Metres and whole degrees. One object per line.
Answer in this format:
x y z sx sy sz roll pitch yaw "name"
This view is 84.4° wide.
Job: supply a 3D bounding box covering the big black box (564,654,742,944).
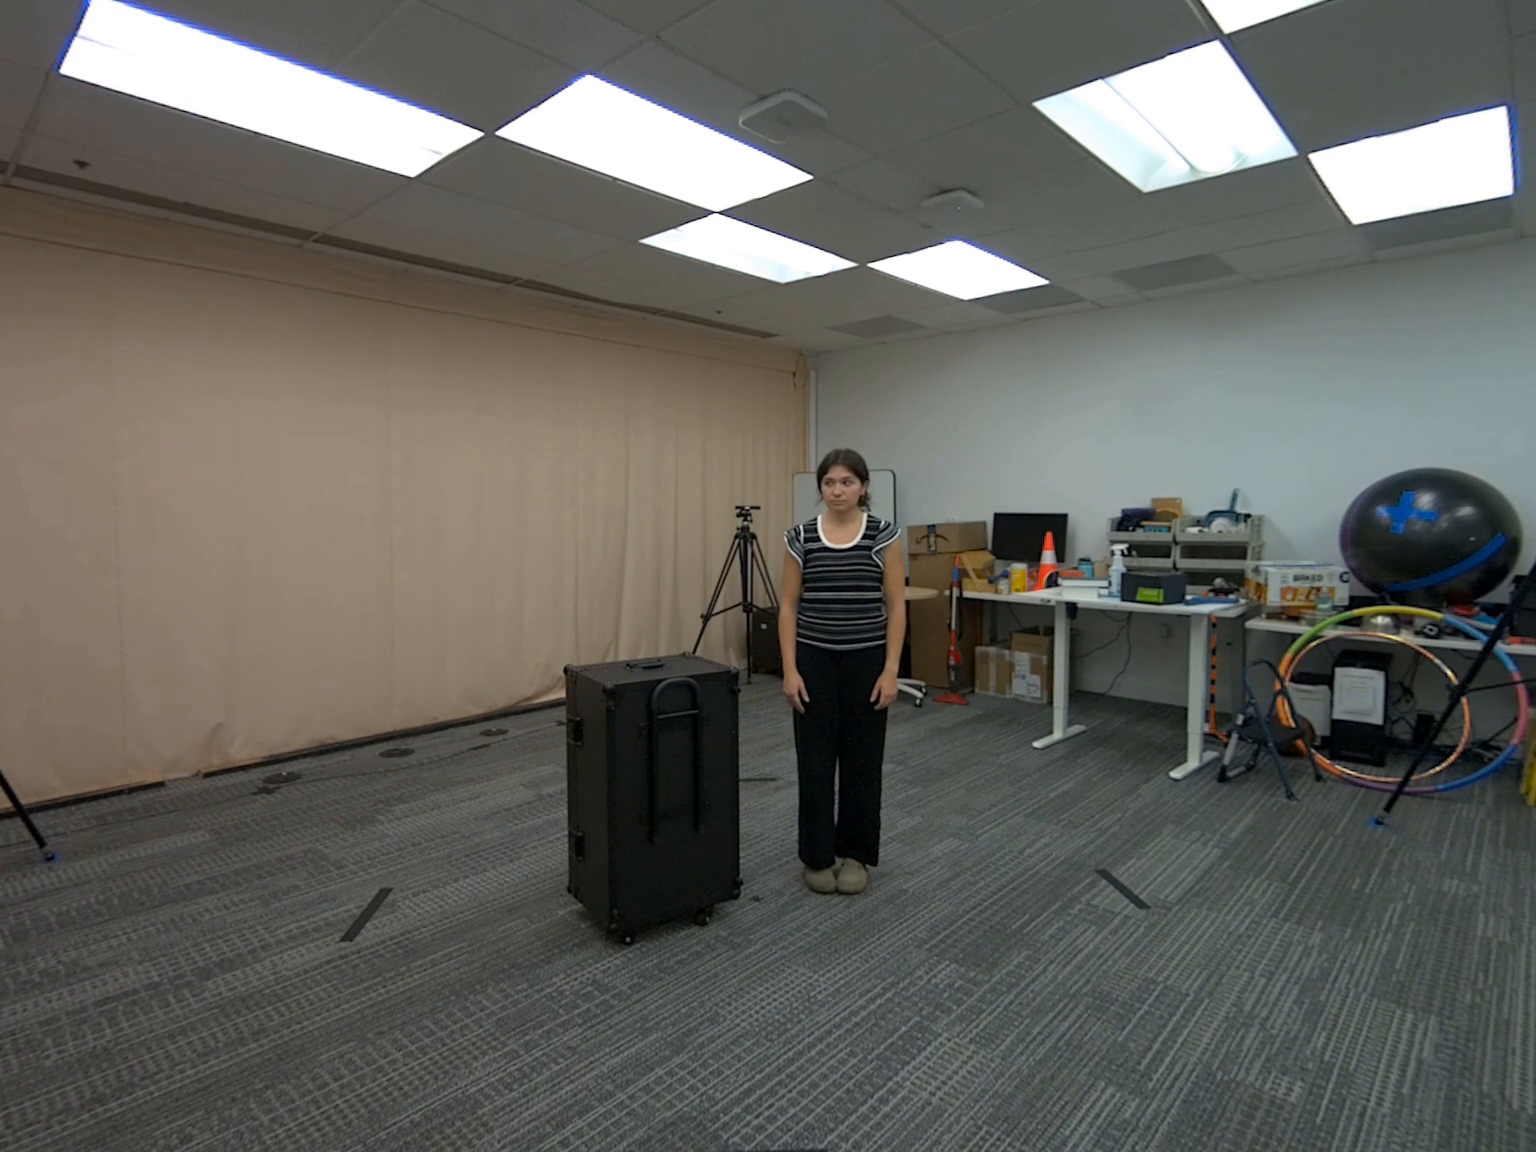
-0.379 0.734 2.843 0.507 0.859 0.408 -2 4 -31 "big black box"
